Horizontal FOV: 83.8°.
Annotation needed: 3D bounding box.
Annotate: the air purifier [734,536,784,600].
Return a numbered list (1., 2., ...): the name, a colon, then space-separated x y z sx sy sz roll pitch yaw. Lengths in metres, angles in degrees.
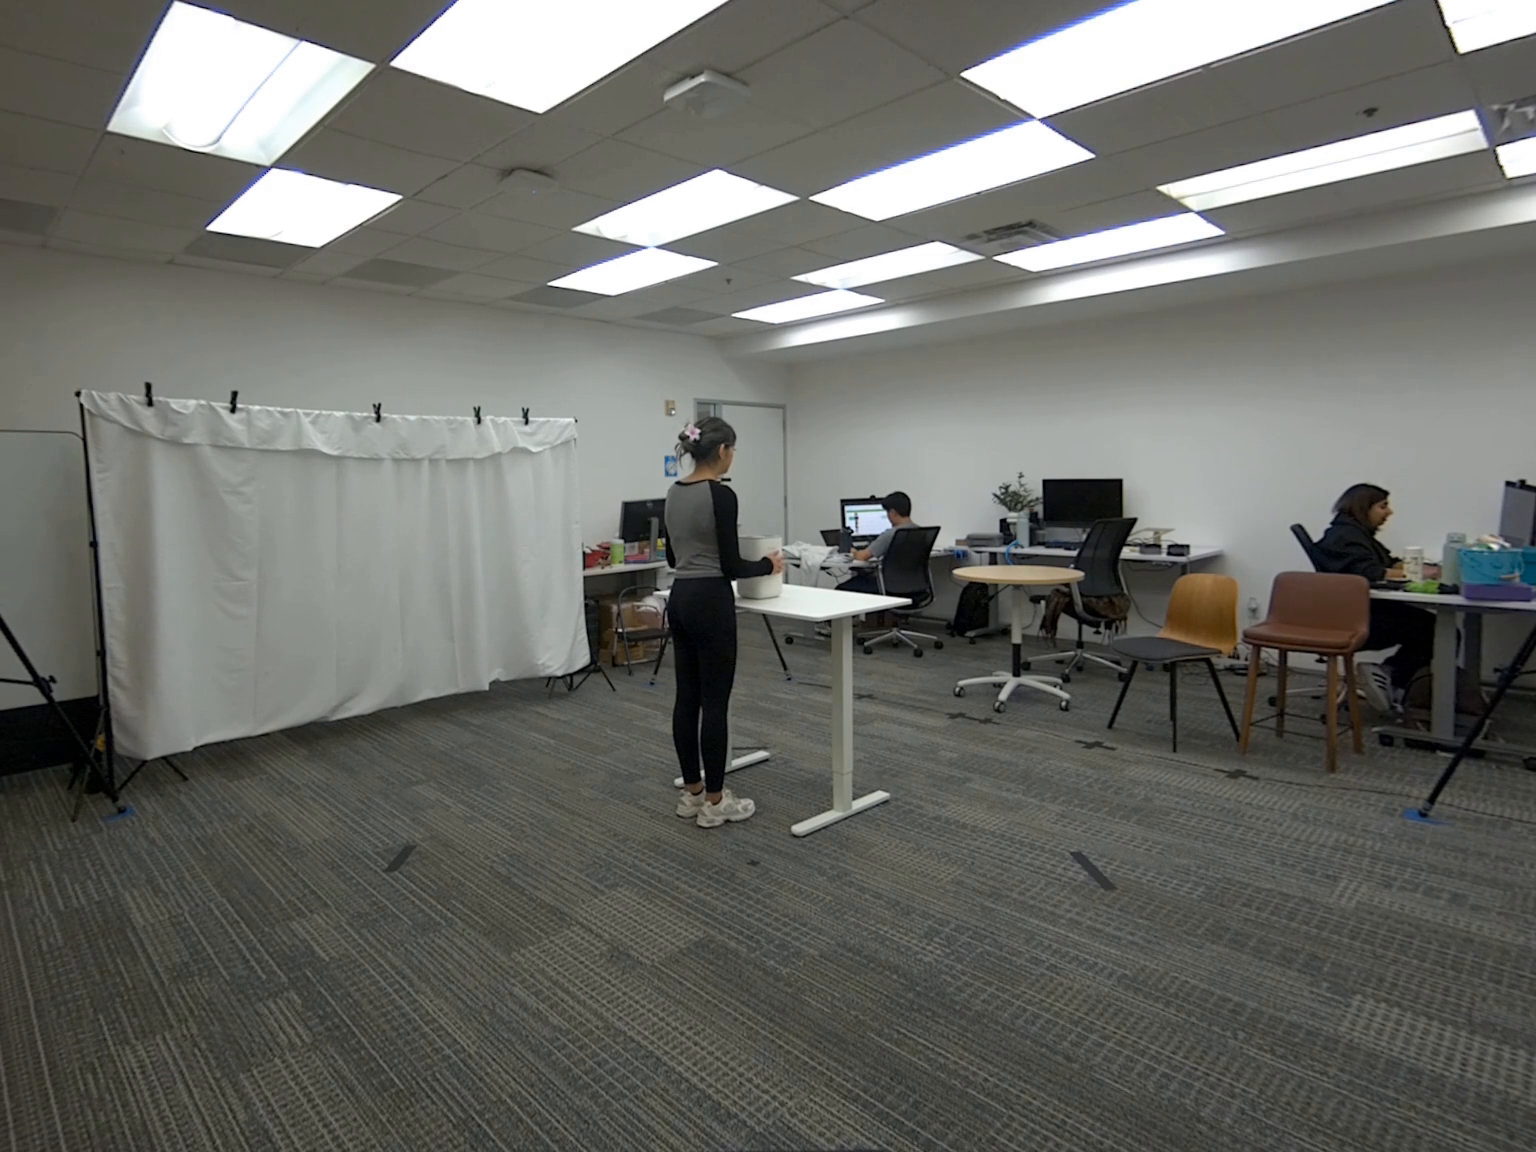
1. air purifier: -0.037 -0.041 3.708 0.166 0.264 0.177 -6 9 -43
